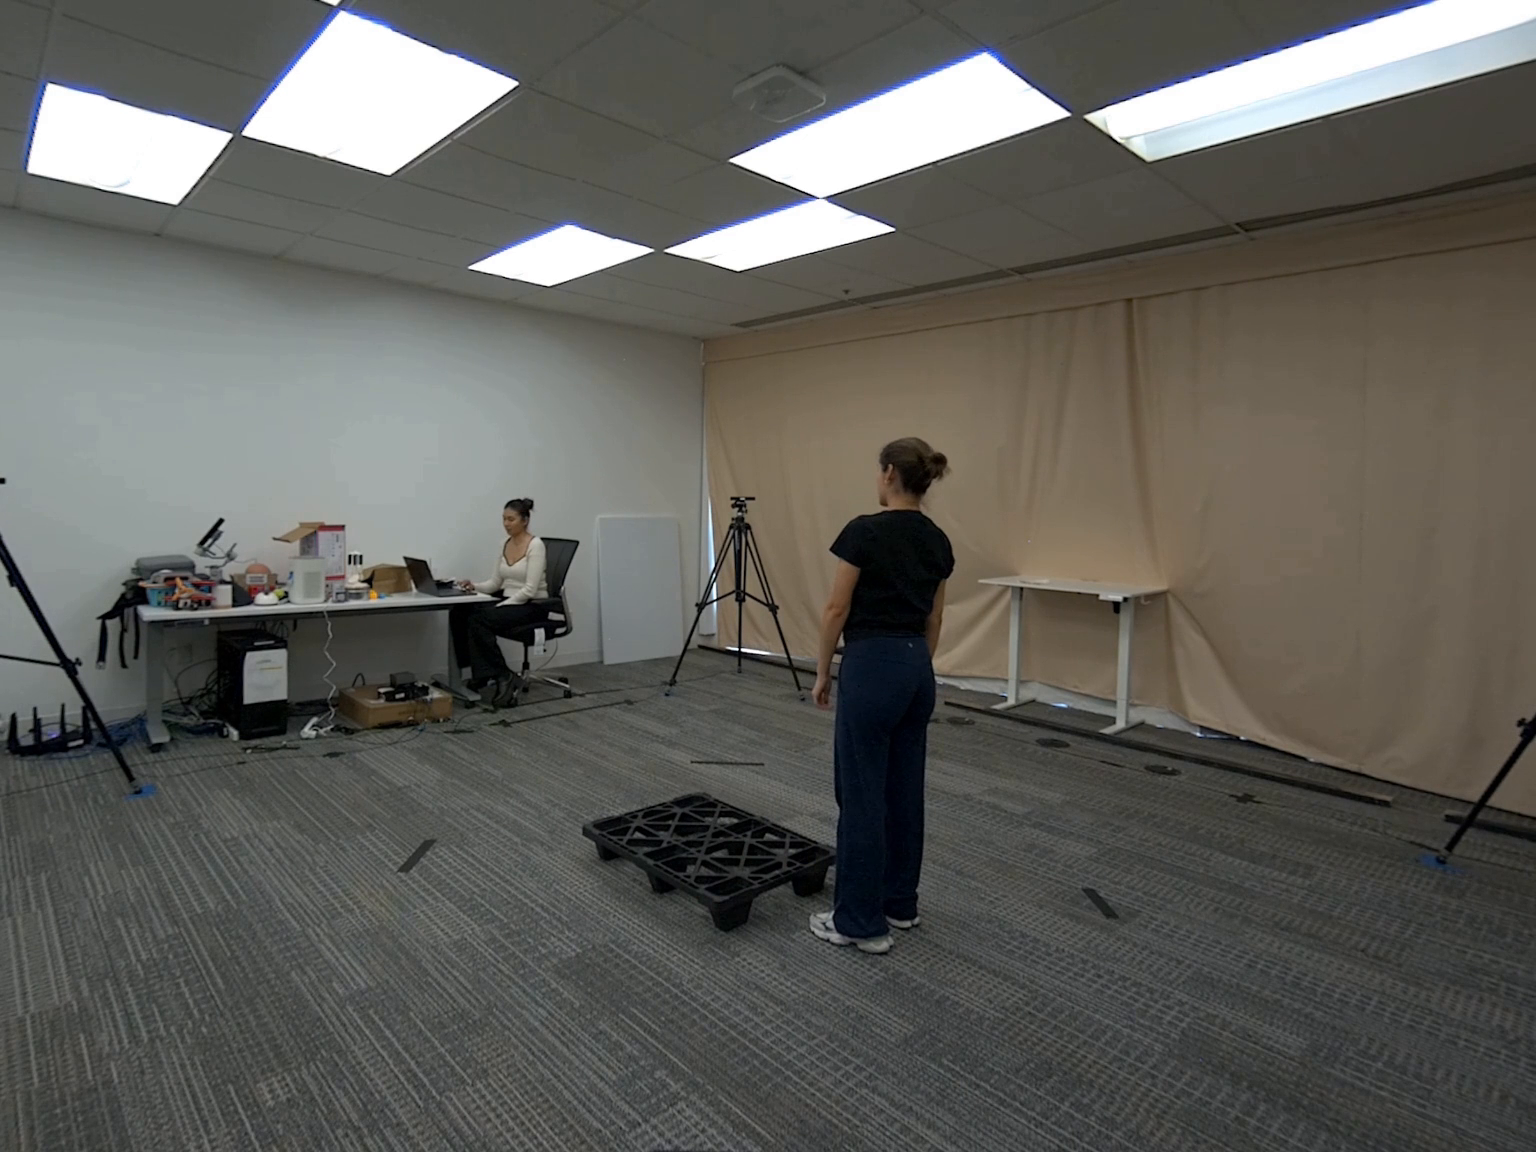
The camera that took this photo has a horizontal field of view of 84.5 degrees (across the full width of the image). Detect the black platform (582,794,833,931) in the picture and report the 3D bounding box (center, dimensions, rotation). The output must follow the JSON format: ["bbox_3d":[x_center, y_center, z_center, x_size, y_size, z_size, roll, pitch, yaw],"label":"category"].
[{"bbox_3d":[-0.231,1.041,3.115,0.591,0.143,0.826,-3,7,-43],"label":"black platform"}]
